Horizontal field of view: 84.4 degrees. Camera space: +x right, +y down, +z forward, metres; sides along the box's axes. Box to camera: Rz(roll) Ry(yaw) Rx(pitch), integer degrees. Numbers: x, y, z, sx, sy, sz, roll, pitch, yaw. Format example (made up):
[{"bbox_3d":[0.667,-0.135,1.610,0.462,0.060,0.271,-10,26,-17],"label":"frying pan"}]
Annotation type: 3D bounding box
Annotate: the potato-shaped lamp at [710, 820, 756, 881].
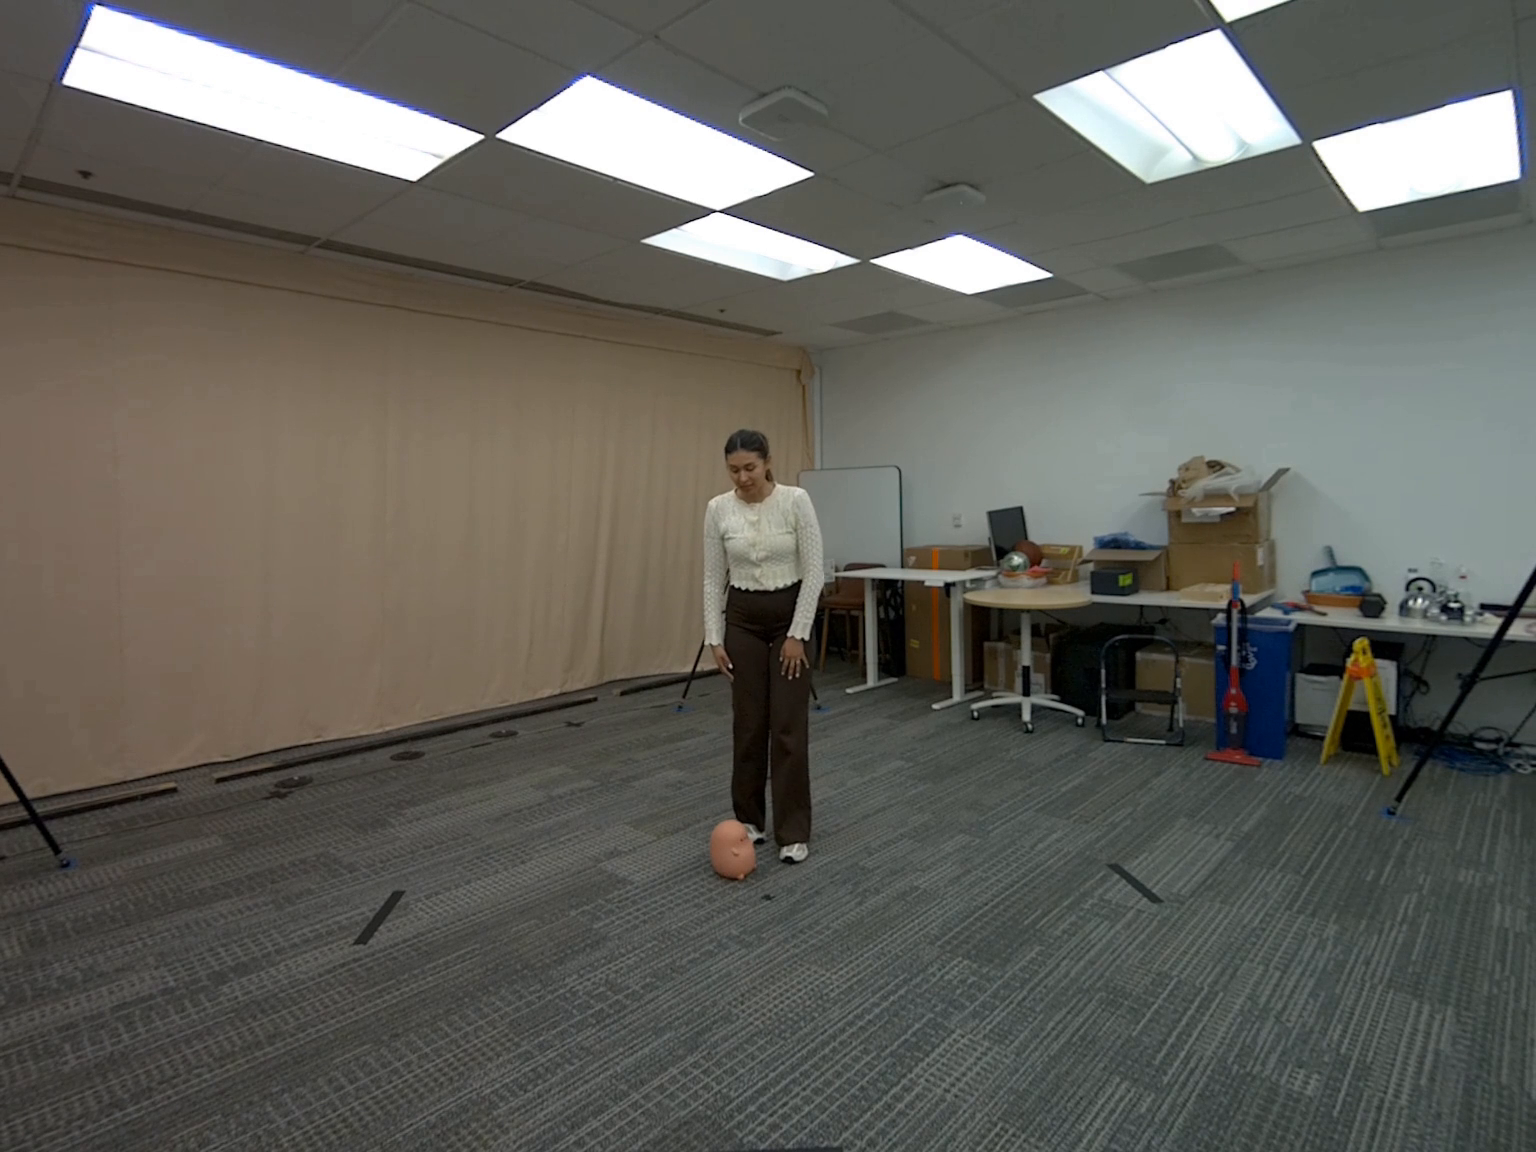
[{"bbox_3d":[-0.135,1.020,3.184,0.176,0.198,0.160,2,3,31],"label":"potato-shaped lamp"}]
